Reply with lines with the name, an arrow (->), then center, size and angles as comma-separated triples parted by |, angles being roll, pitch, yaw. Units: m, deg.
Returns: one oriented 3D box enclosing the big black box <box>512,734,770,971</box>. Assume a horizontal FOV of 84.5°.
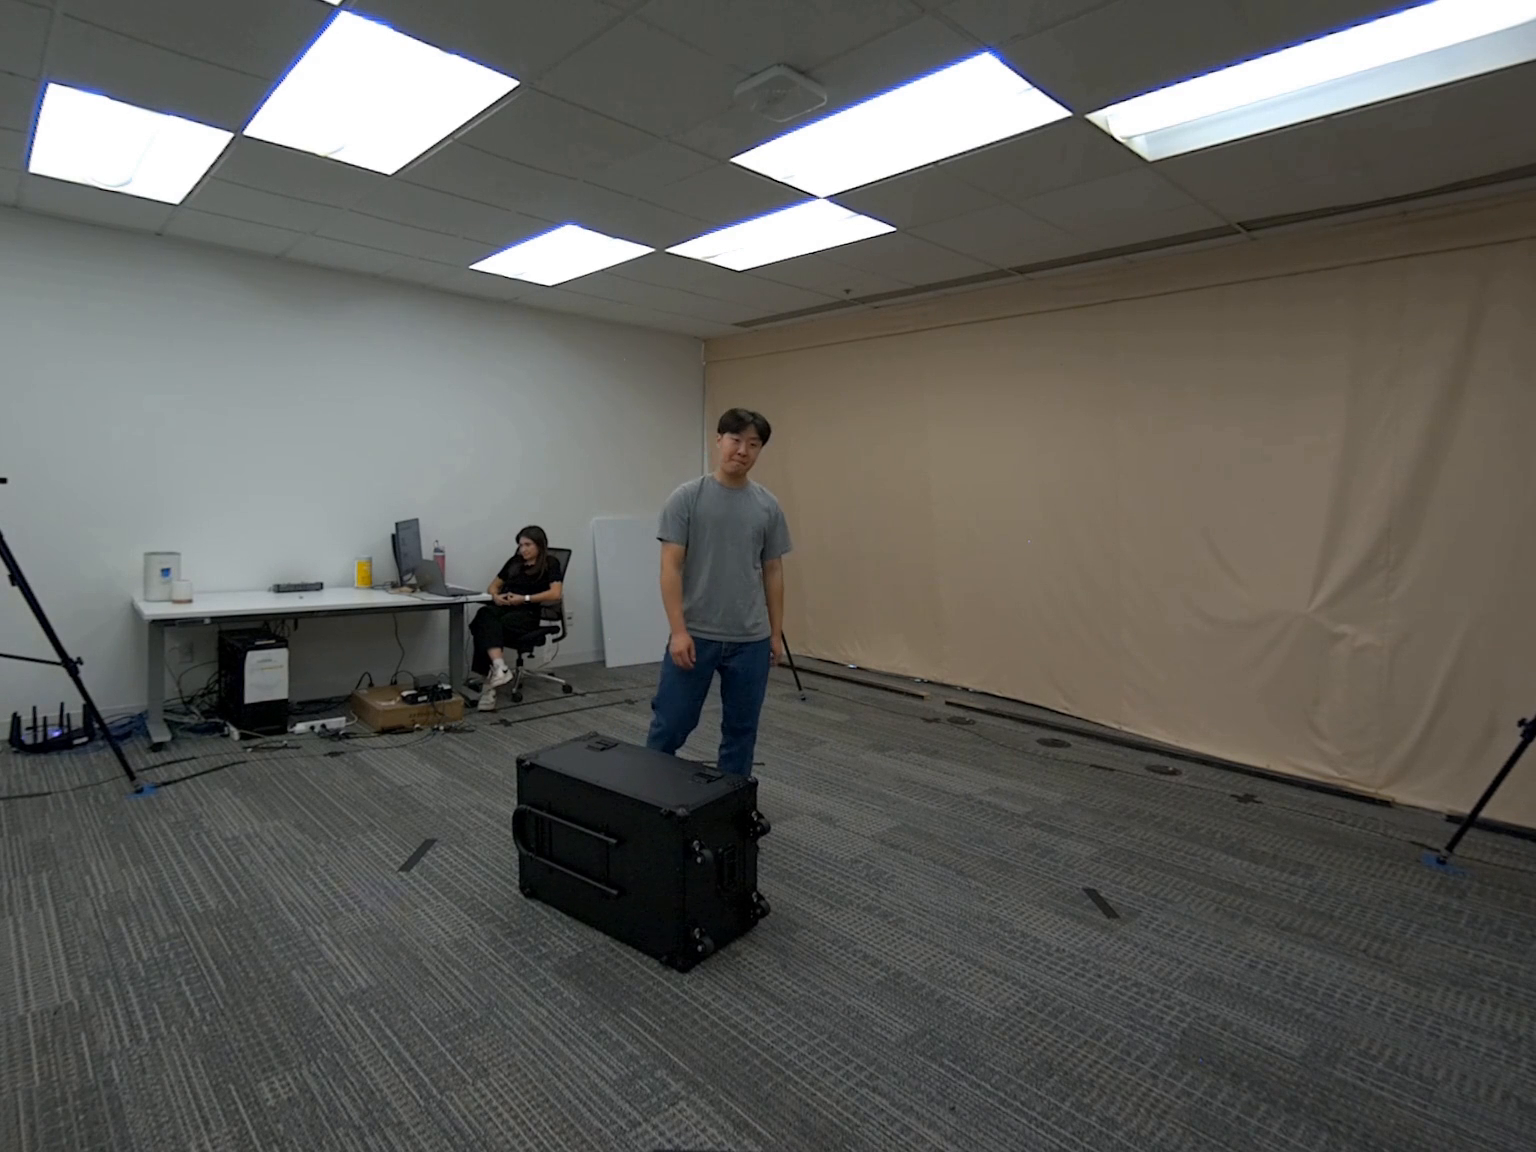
big black box -> -0.439, 0.875, 2.776 | 0.883, 0.519, 0.388 | 5, 7, 38
